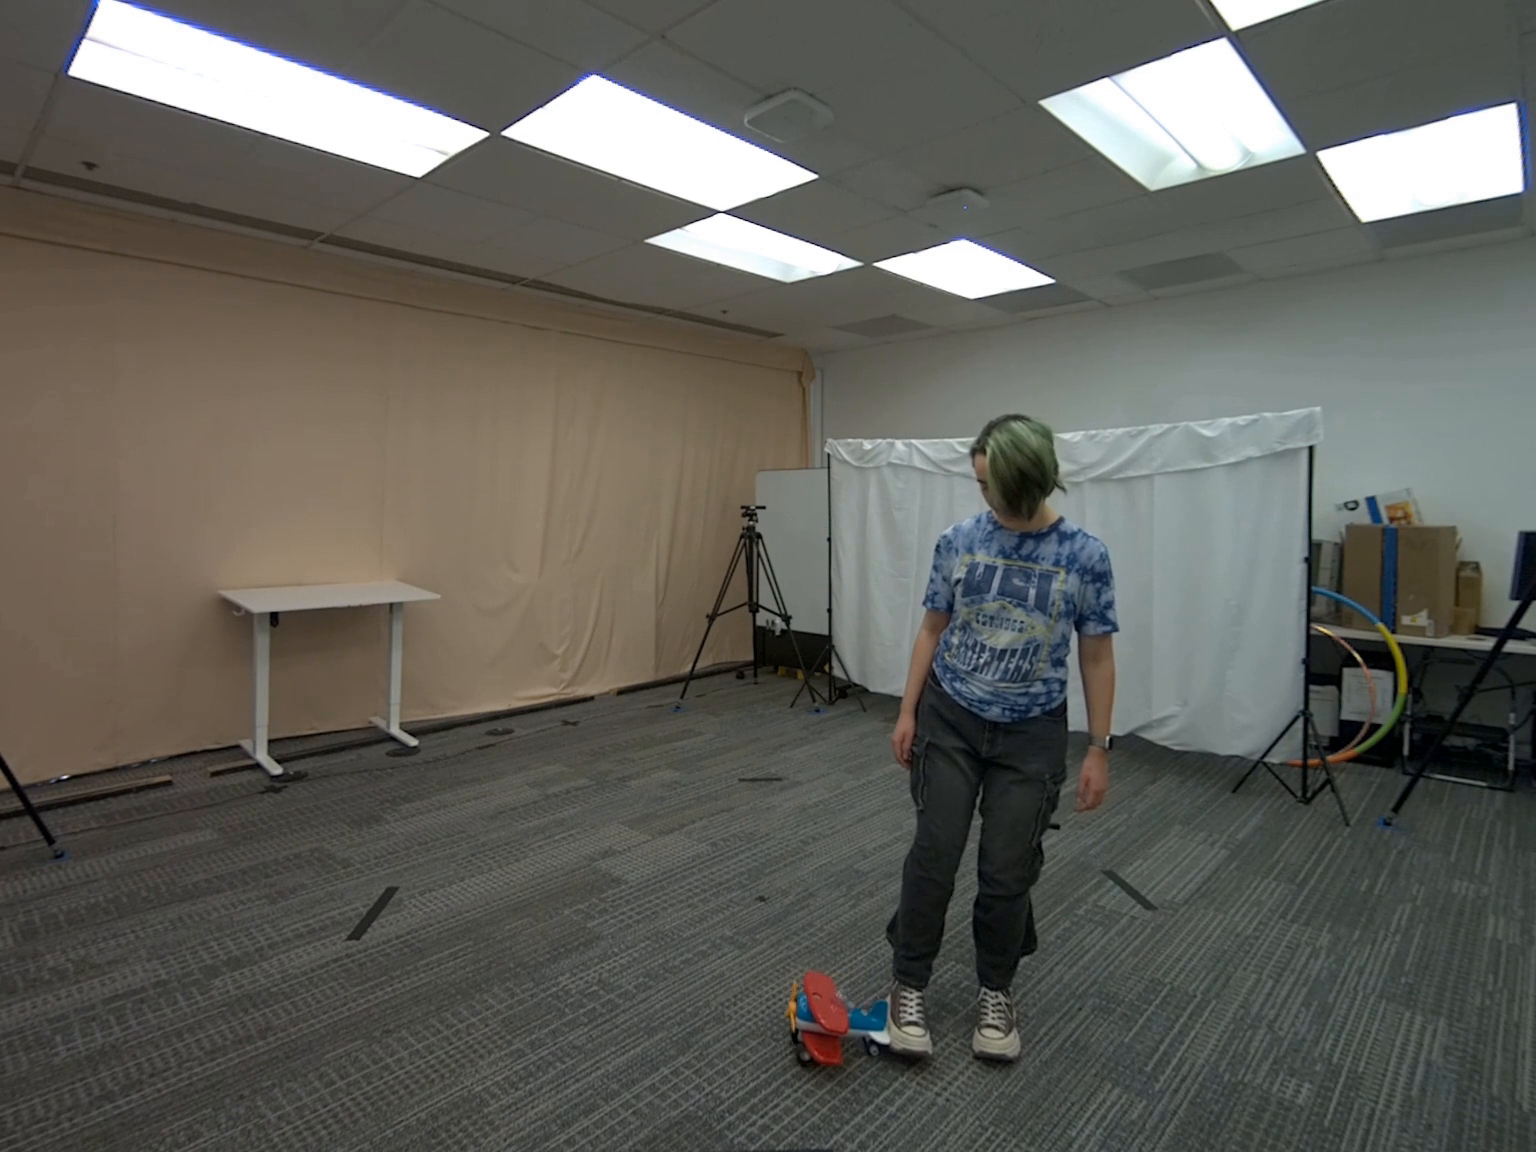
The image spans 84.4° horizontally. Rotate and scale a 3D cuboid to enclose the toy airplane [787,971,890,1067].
[{"bbox_3d":[0.176,1.145,2.158,0.252,0.156,0.259,-4,6,-34],"label":"toy airplane"}]
